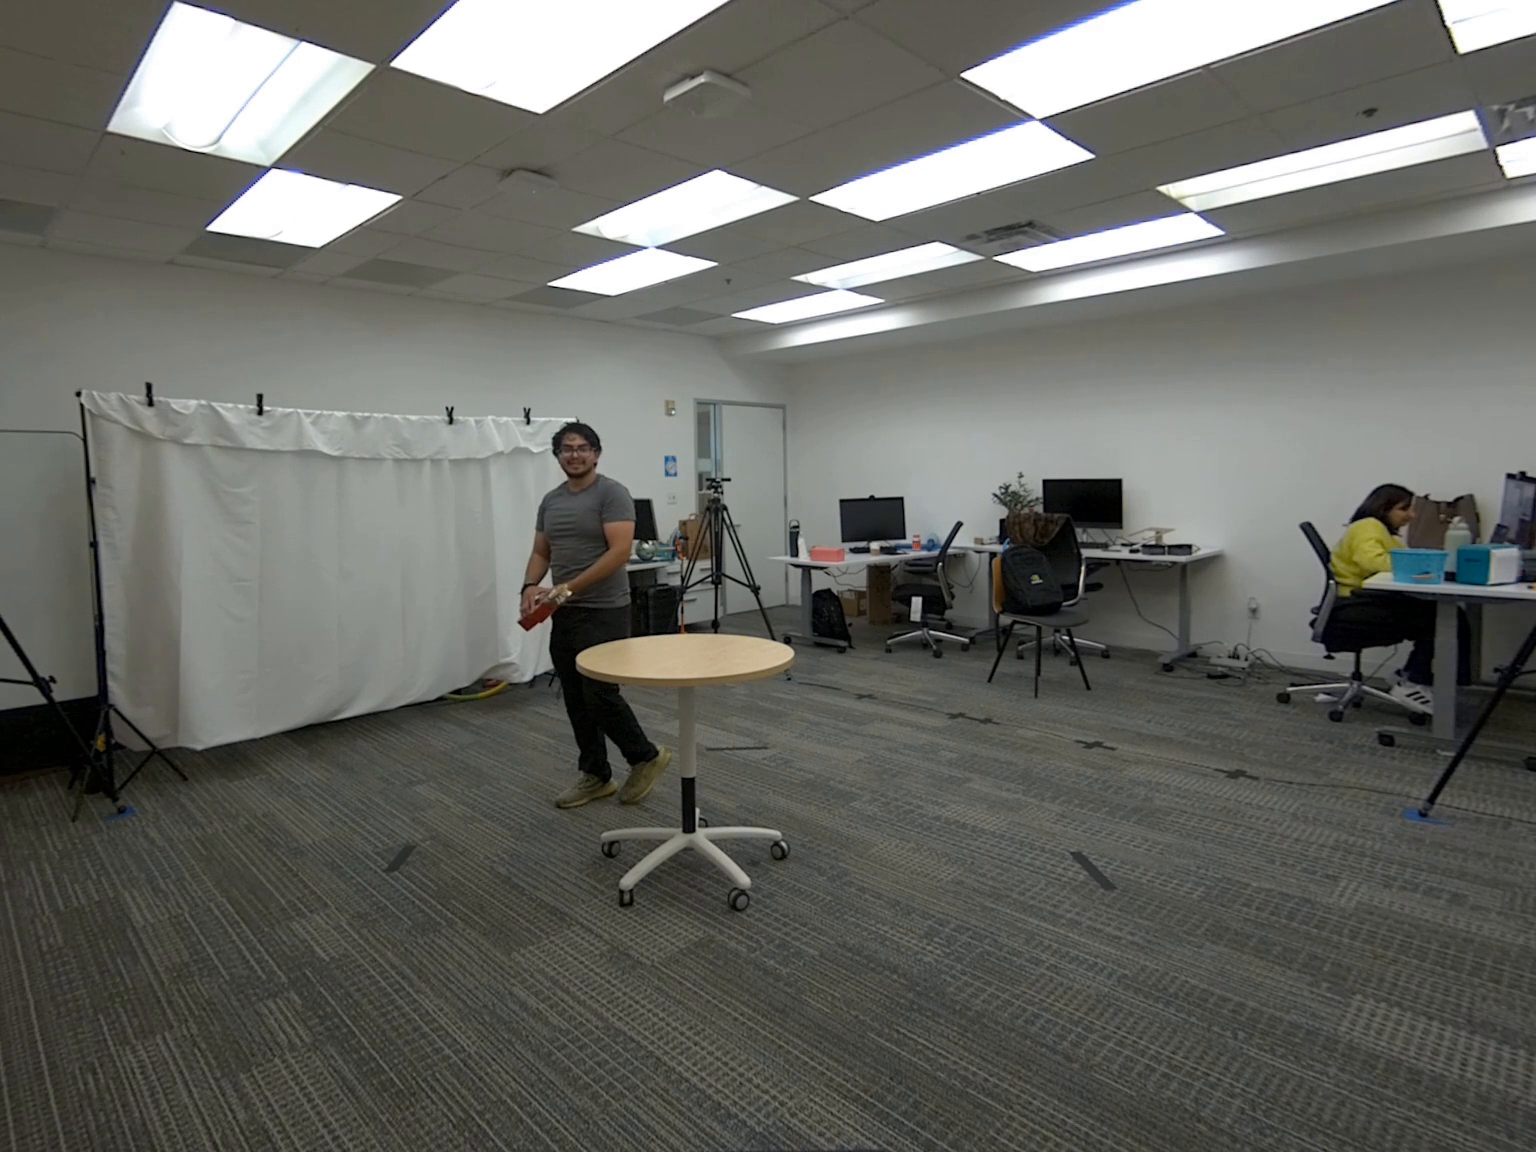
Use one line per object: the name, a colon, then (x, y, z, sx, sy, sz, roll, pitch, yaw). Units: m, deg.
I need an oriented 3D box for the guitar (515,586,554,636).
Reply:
guitar: (-0.895, 0.136, 3.446, 0.069, 0.193, 0.506, 43, -18, -15)
